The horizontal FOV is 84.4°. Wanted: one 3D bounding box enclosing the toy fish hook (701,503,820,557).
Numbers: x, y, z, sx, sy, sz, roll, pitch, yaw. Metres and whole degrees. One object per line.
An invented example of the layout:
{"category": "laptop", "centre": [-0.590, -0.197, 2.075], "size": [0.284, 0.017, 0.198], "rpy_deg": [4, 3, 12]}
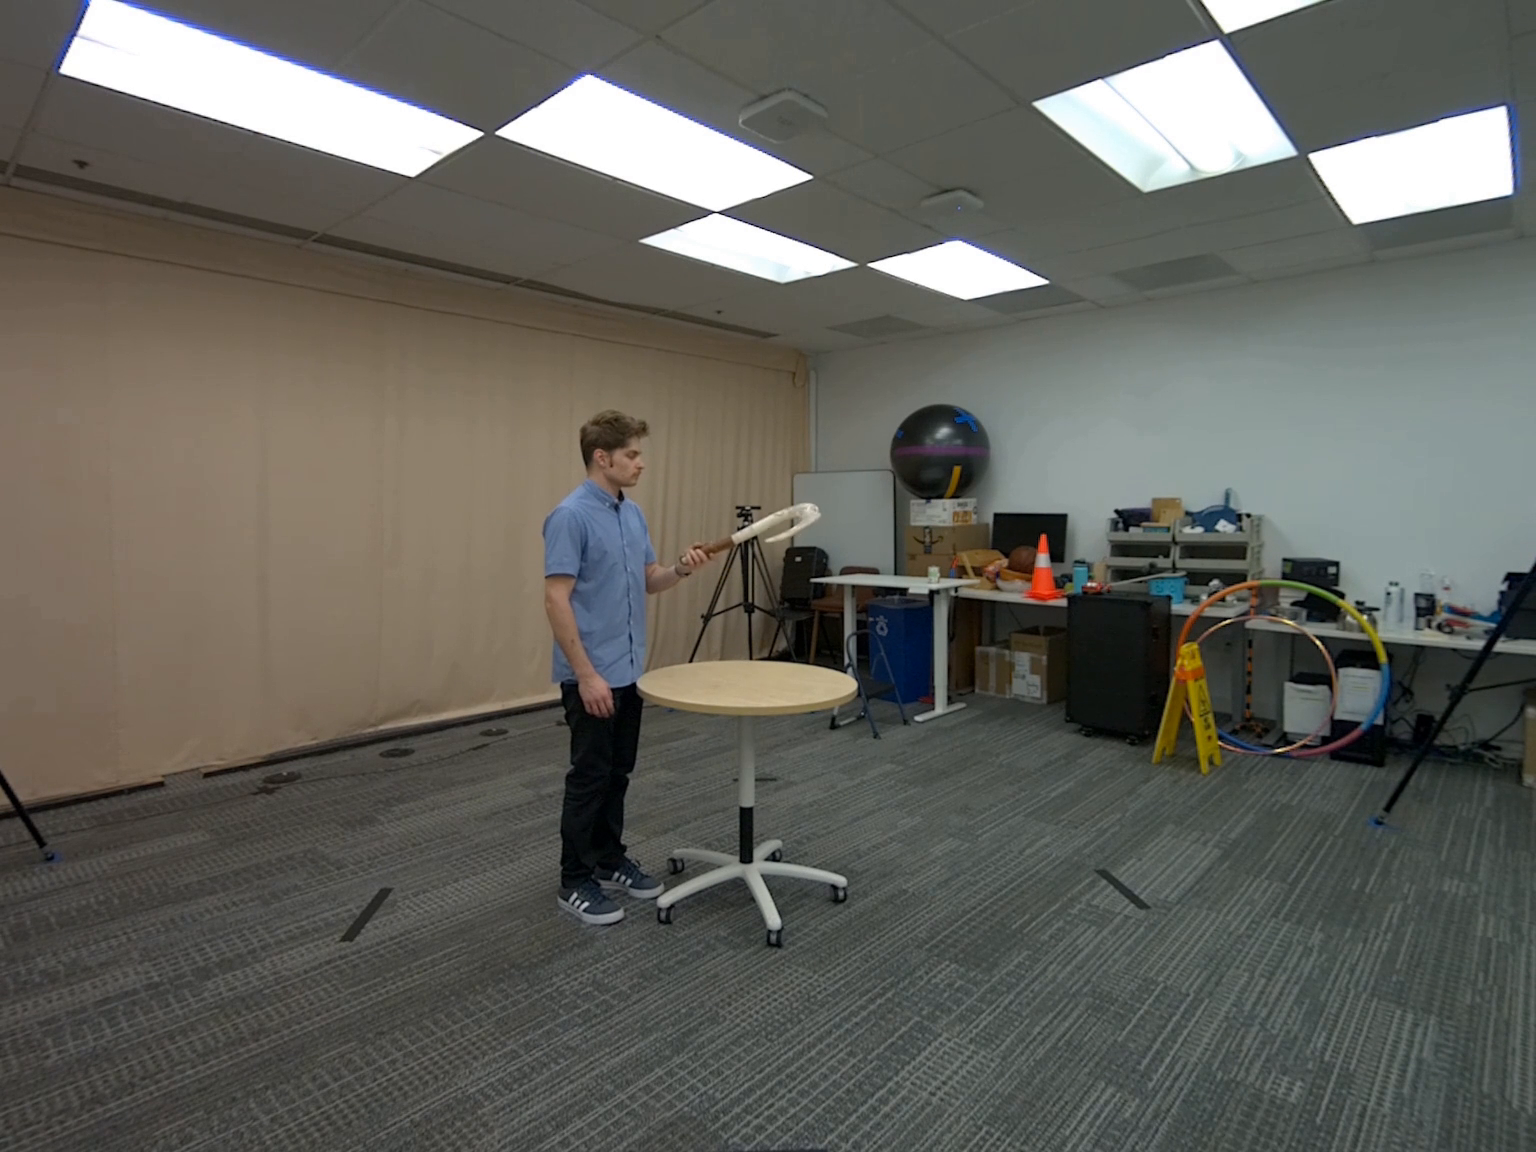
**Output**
{"category": "toy fish hook", "centre": [-0.062, -0.112, 2.810], "size": [0.511, 0.047, 0.227], "rpy_deg": [-22, 19, 10]}
